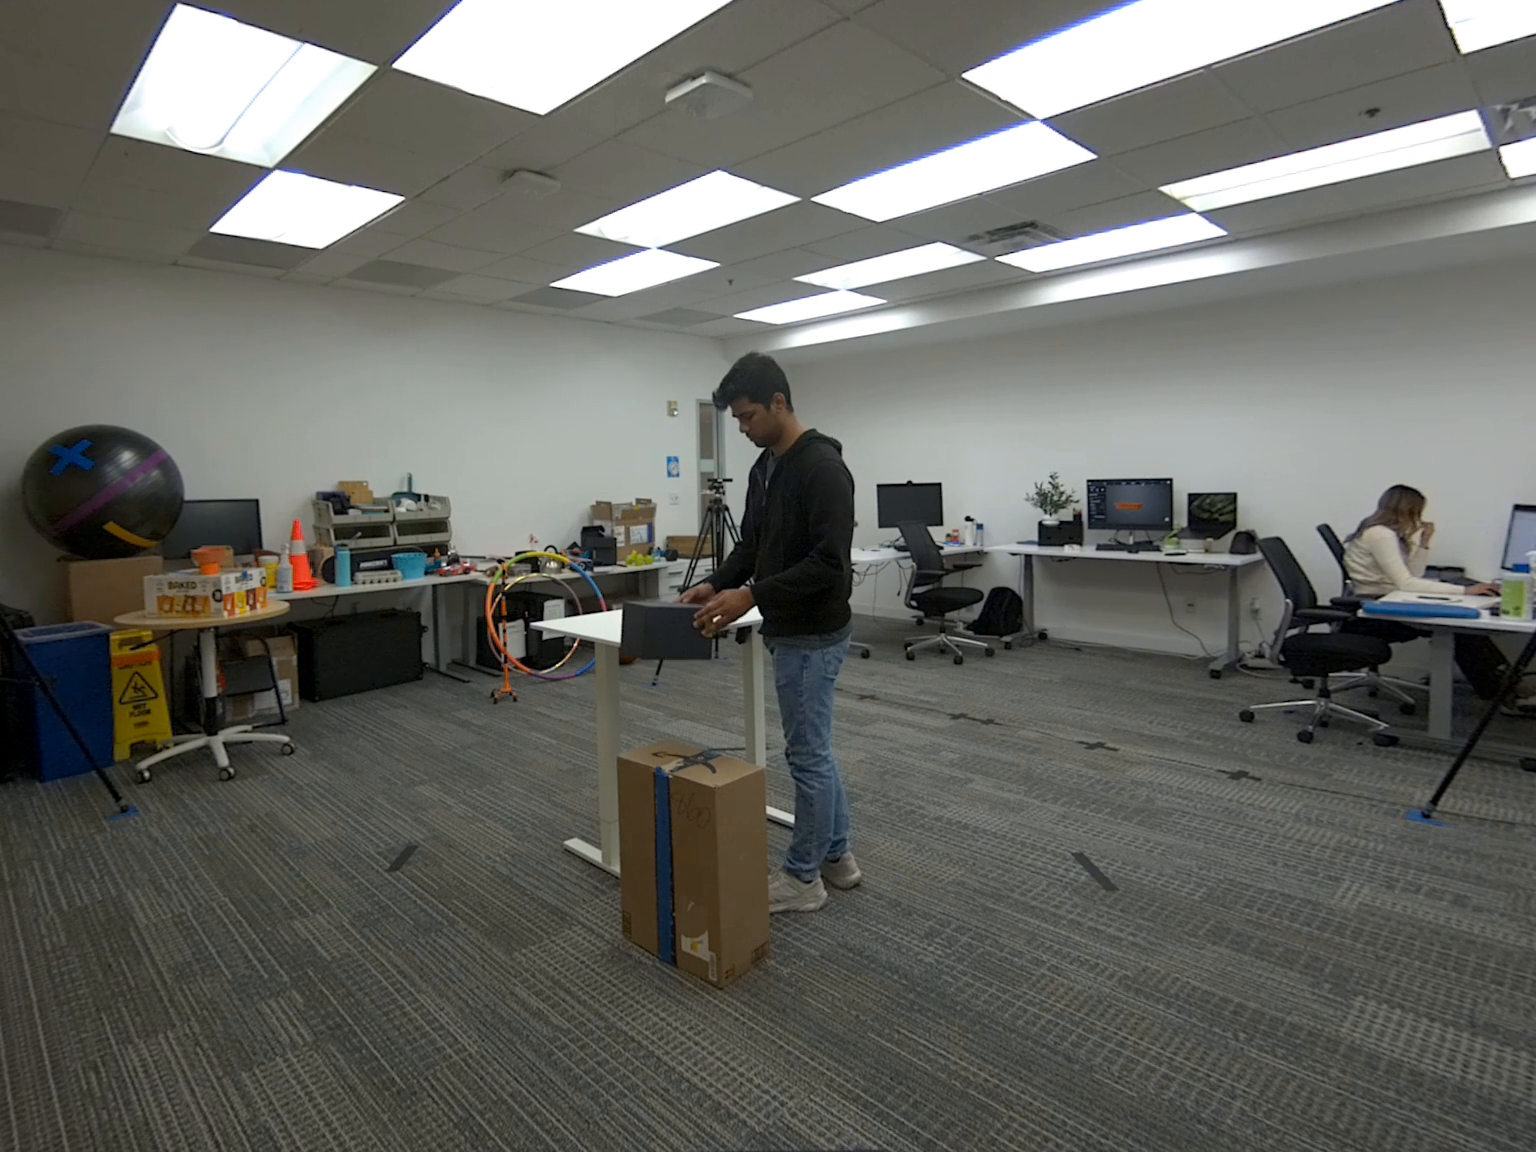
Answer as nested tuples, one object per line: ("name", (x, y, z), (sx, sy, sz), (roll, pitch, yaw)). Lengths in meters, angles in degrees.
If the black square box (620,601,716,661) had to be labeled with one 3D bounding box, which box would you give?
("black square box", (-0.304, 0.166, 2.593), (0.212, 0.156, 0.233), (2, 1, -25))
